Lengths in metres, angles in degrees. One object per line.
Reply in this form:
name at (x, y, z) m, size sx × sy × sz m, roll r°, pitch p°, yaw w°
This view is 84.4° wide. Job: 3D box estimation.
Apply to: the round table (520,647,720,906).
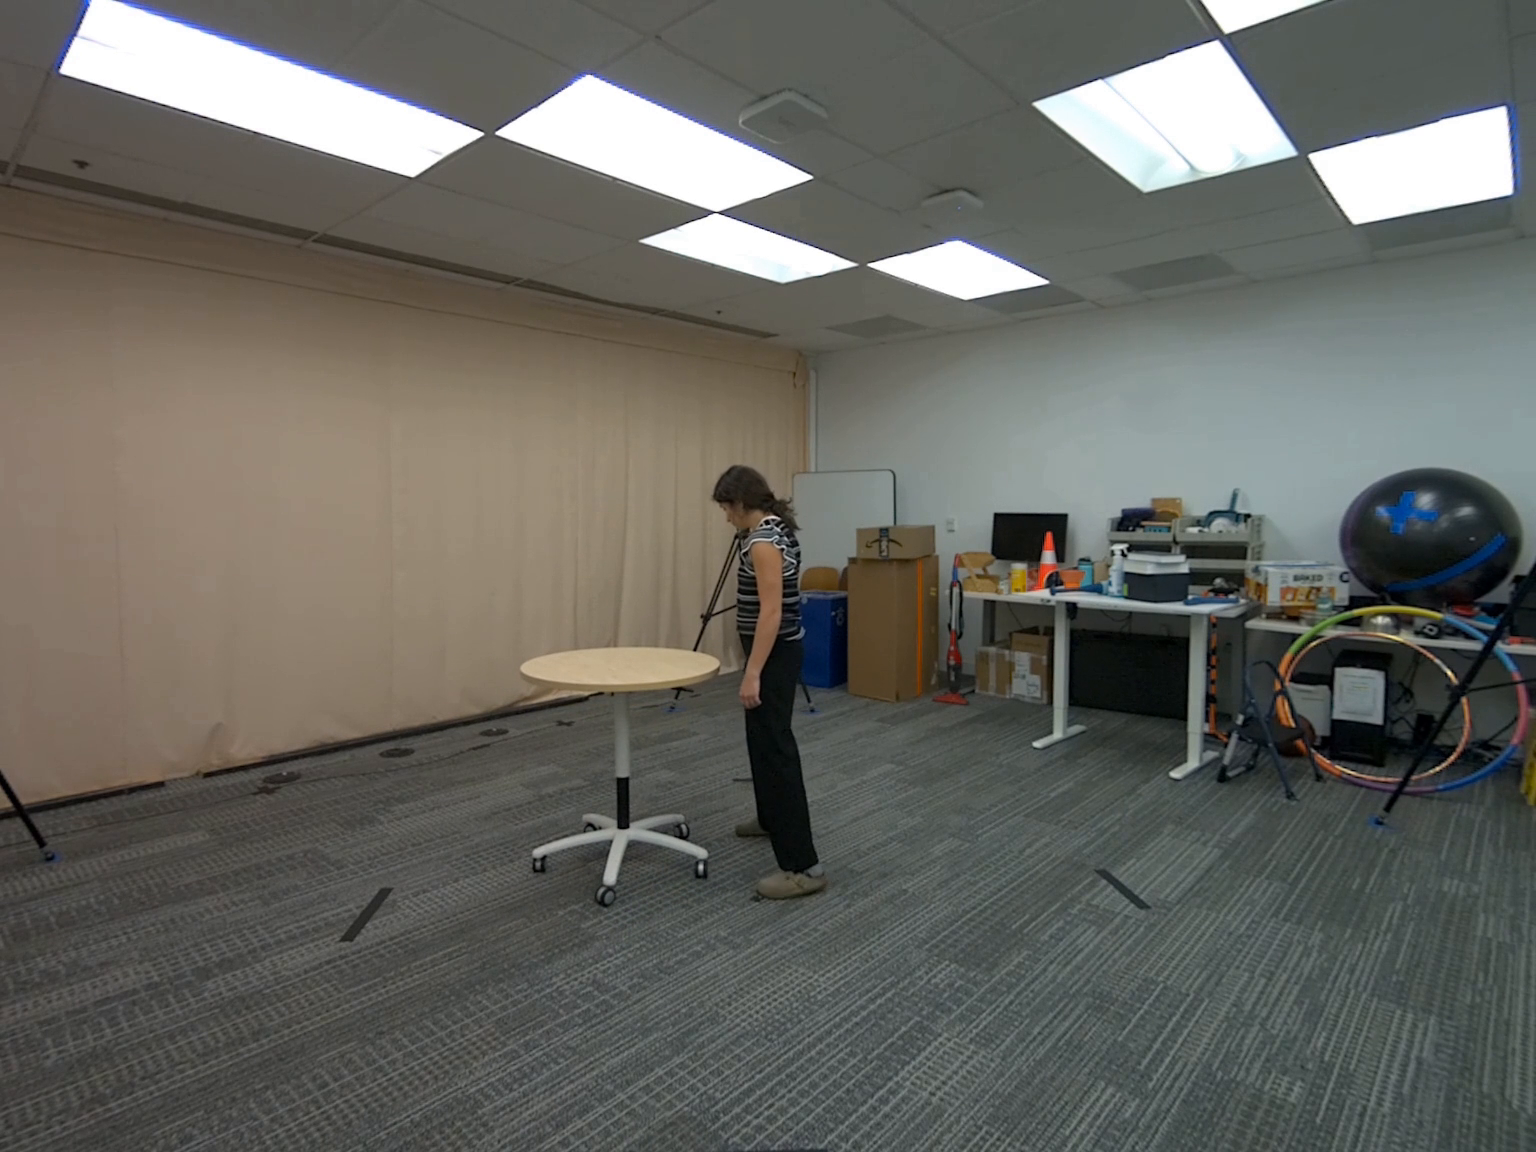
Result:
round table at (-0.580, 0.731, 3.280) m, size 0.784 × 0.785 × 0.788 m, roll 0°, pitch 3°, yaw -2°
